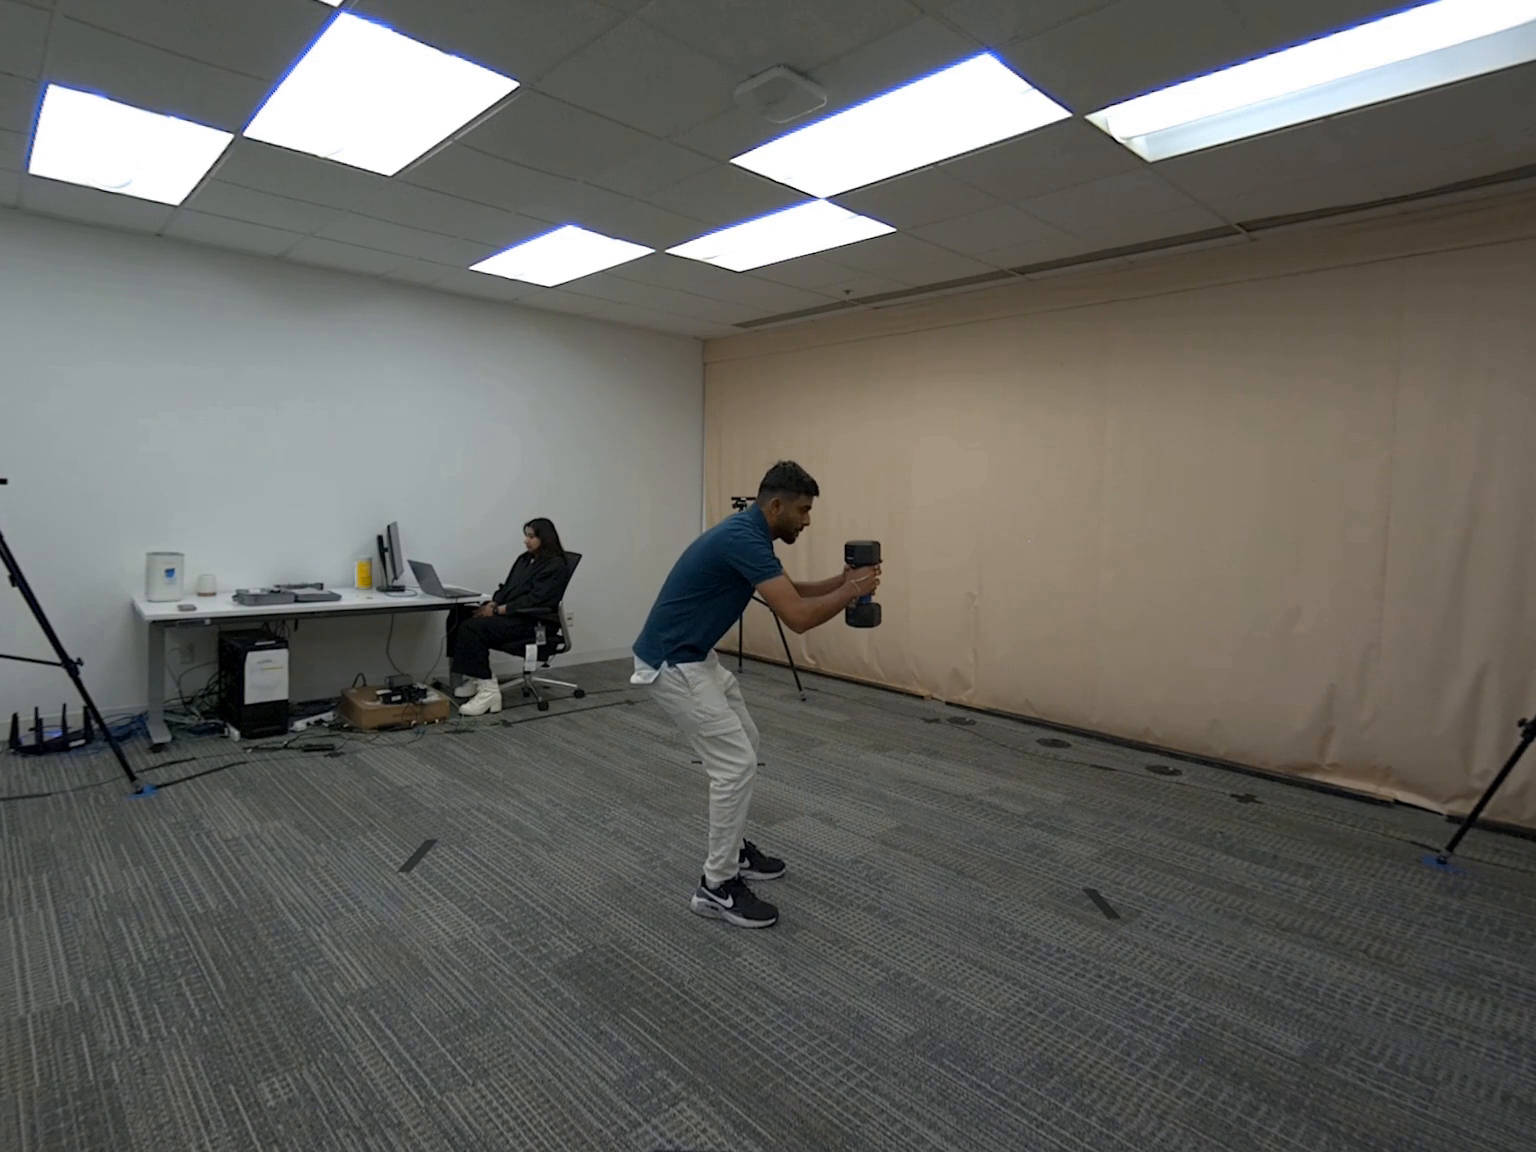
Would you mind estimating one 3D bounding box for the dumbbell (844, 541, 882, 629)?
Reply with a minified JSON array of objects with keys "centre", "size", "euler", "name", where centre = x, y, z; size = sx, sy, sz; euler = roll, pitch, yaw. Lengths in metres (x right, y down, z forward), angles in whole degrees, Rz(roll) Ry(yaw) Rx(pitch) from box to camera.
[{"centre":[0.313,0.026,2.859],"size":[0.111,0.293,0.120],"euler":[2,4,30],"name":"dumbbell"}]
